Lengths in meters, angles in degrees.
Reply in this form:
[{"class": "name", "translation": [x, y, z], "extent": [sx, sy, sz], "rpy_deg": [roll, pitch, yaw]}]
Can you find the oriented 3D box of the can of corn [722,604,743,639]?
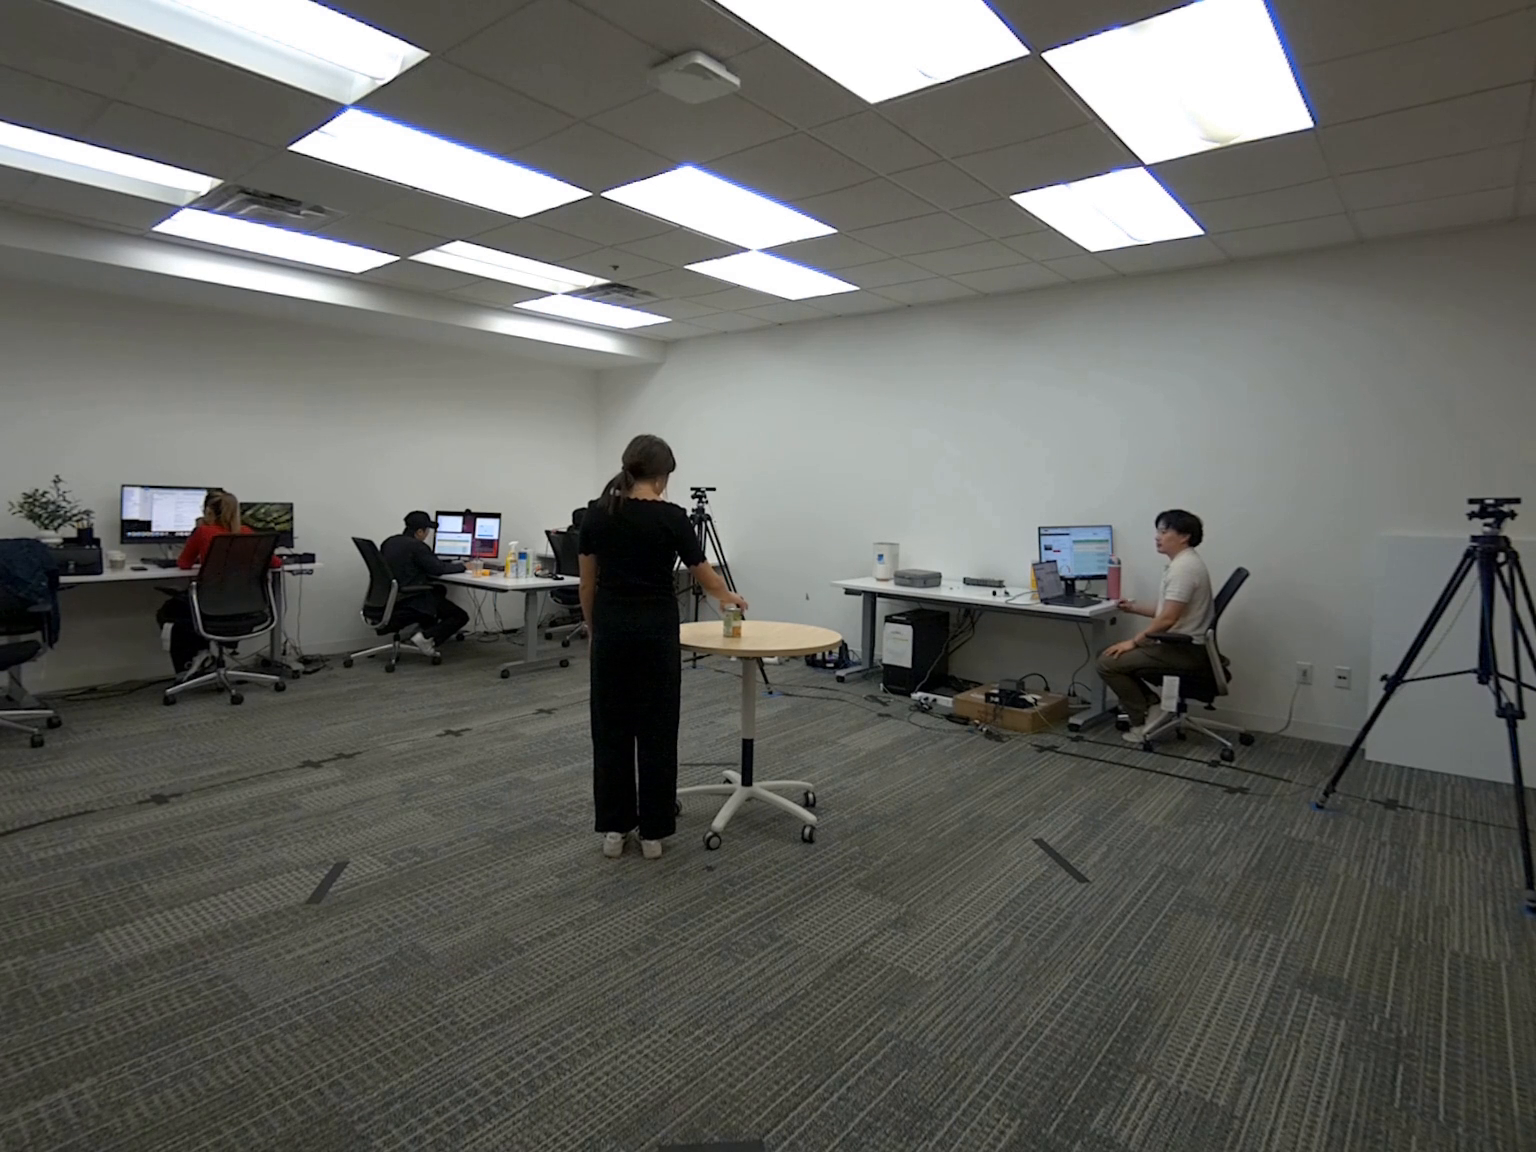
[{"class": "can of corn", "translation": [-0.148, 0.190, 3.499], "extent": [0.074, 0.111, 0.074], "rpy_deg": [0, 3, -2]}]
